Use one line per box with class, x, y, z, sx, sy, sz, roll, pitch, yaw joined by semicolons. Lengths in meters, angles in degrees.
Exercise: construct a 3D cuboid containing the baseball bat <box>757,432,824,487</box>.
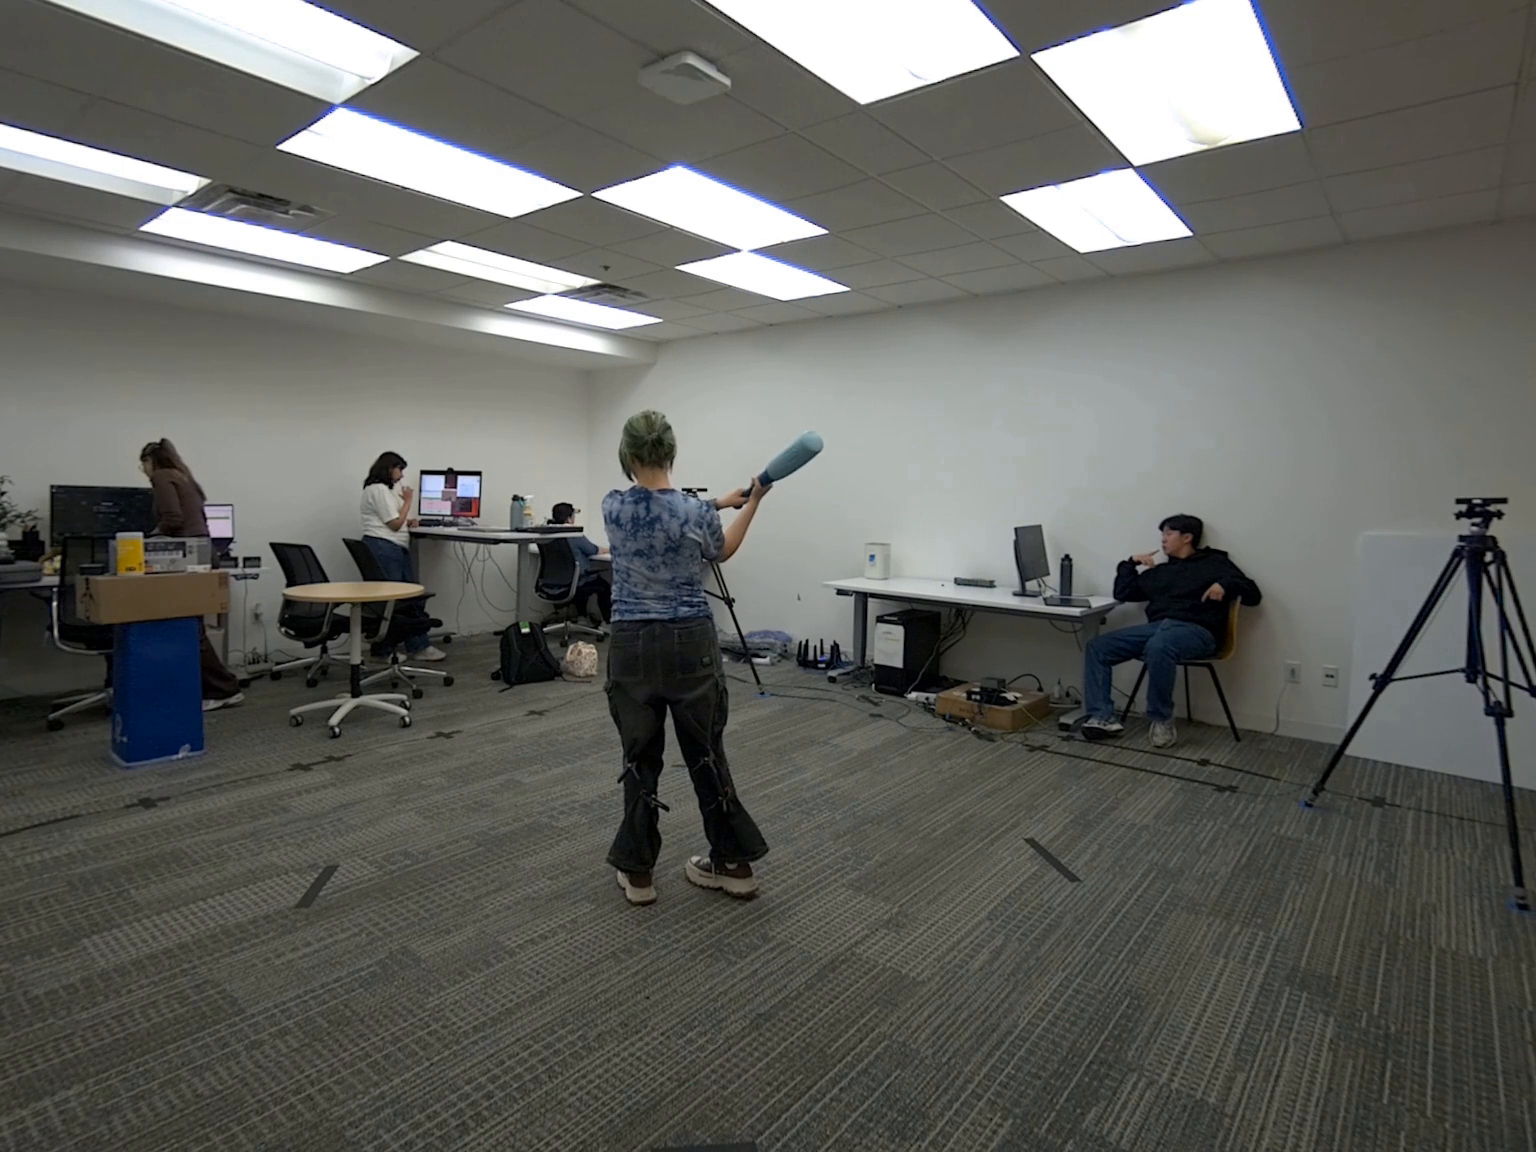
baseball bat;-0.007;-0.357;3.030;0.086;0.091;0.548;-2;-18;-35
